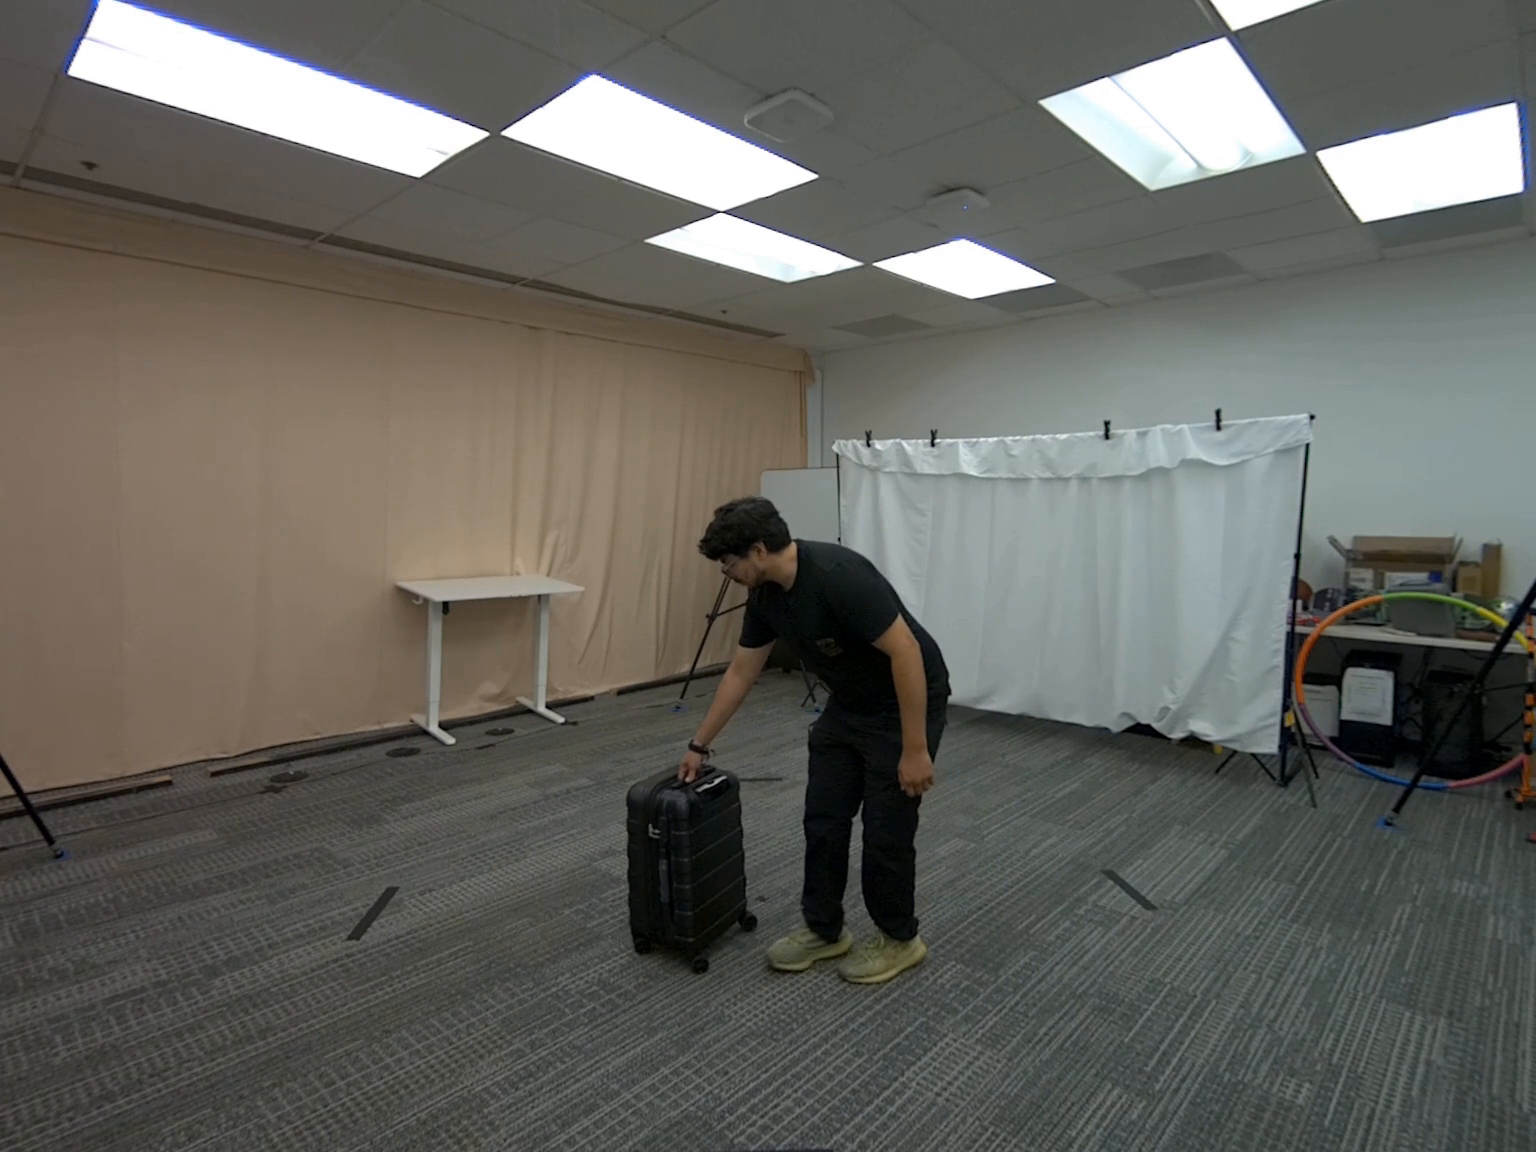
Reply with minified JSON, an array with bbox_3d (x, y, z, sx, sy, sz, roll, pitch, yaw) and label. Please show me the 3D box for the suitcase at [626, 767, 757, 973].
[{"bbox_3d":[-0.259,0.901,2.691,0.255,0.548,0.365,0,3,32],"label":"suitcase"}]
